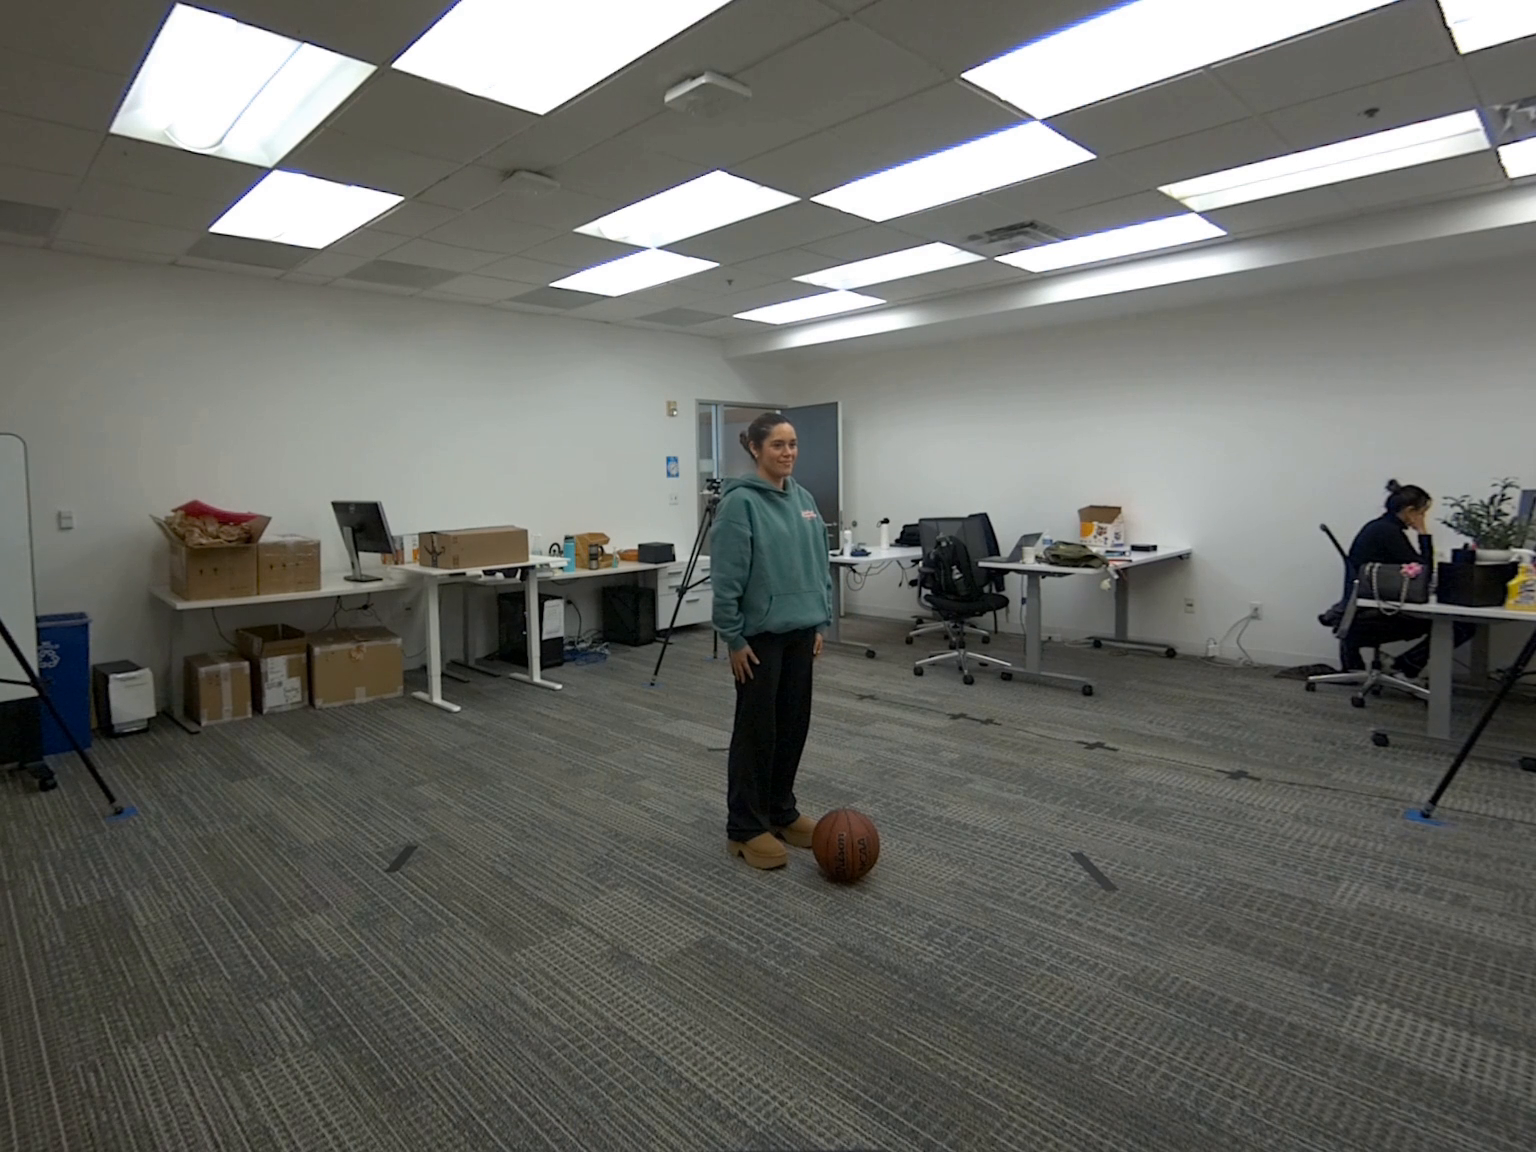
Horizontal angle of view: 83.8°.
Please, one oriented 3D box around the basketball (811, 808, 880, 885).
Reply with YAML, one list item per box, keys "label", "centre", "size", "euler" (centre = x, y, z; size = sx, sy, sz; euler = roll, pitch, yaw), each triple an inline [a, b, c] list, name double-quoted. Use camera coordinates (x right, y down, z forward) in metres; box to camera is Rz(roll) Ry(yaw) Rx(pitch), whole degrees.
- label: "basketball"
  centre: [0.278, 0.936, 2.982]
  size: [0.236, 0.235, 0.237]
  euler: [-1, 5, -2]
